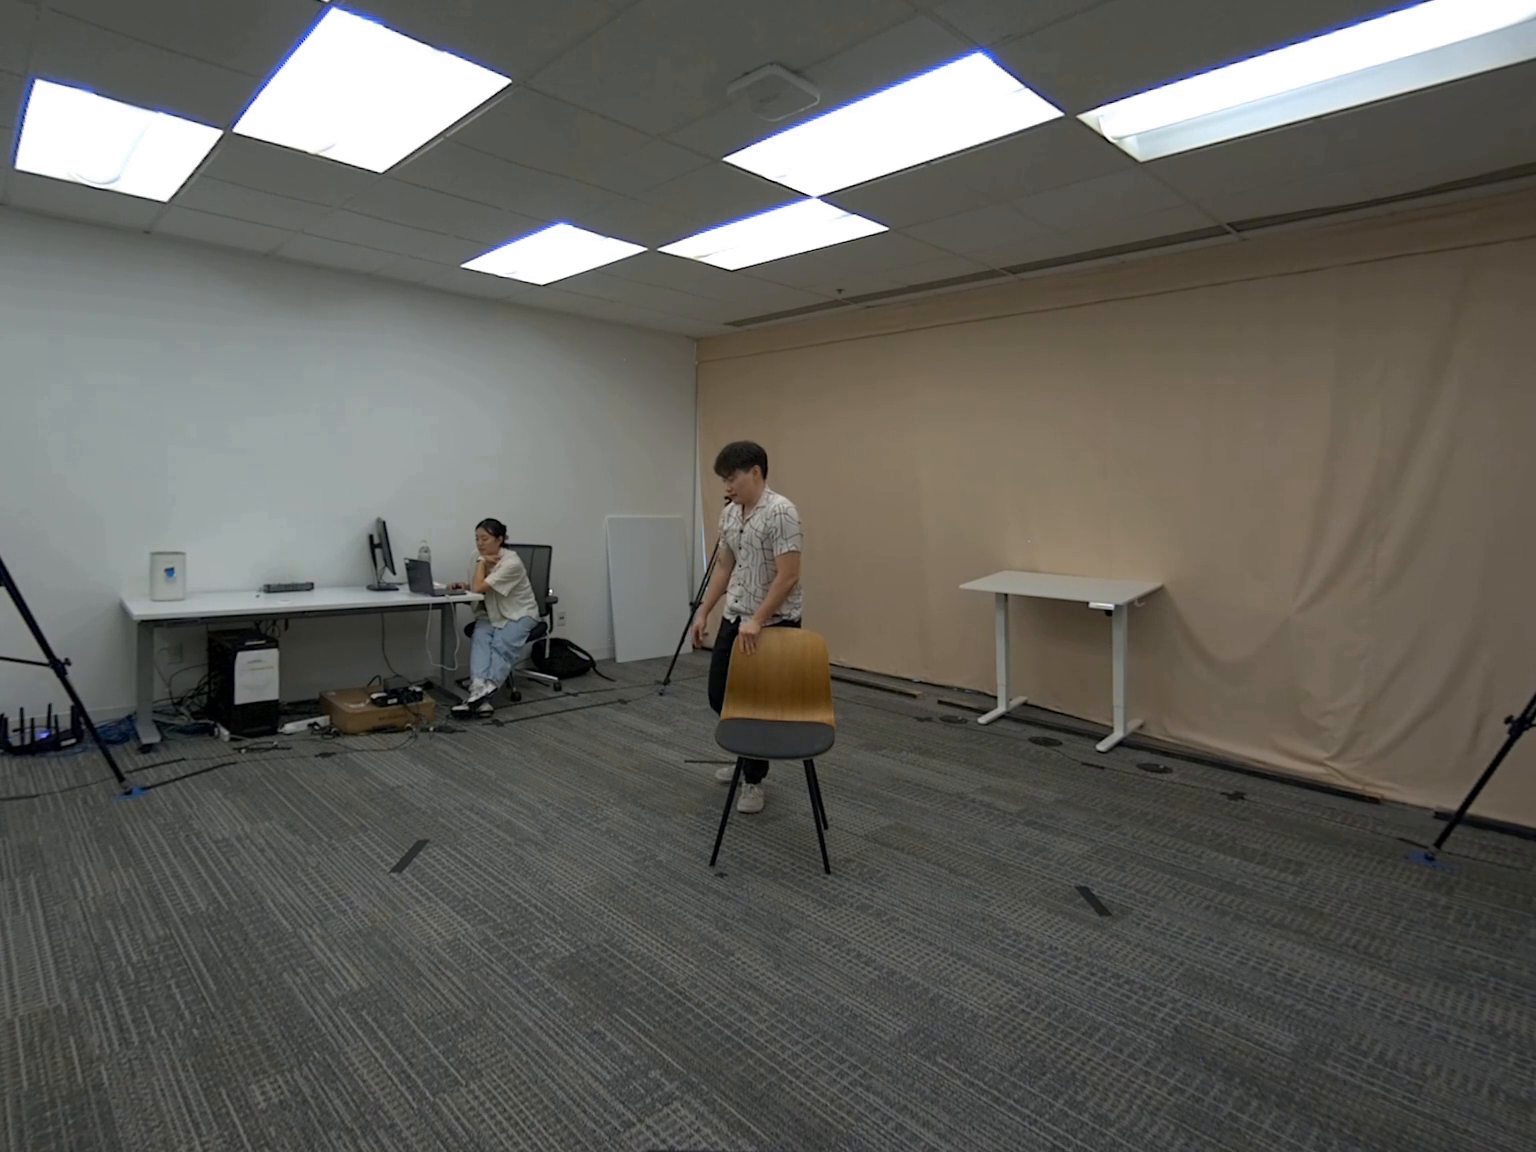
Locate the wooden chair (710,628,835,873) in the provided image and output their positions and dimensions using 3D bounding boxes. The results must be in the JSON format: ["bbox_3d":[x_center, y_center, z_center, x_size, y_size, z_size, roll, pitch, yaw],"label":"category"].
[{"bbox_3d":[0.025,0.659,3.334,0.480,0.878,0.520,2,-1,4],"label":"wooden chair"}]
